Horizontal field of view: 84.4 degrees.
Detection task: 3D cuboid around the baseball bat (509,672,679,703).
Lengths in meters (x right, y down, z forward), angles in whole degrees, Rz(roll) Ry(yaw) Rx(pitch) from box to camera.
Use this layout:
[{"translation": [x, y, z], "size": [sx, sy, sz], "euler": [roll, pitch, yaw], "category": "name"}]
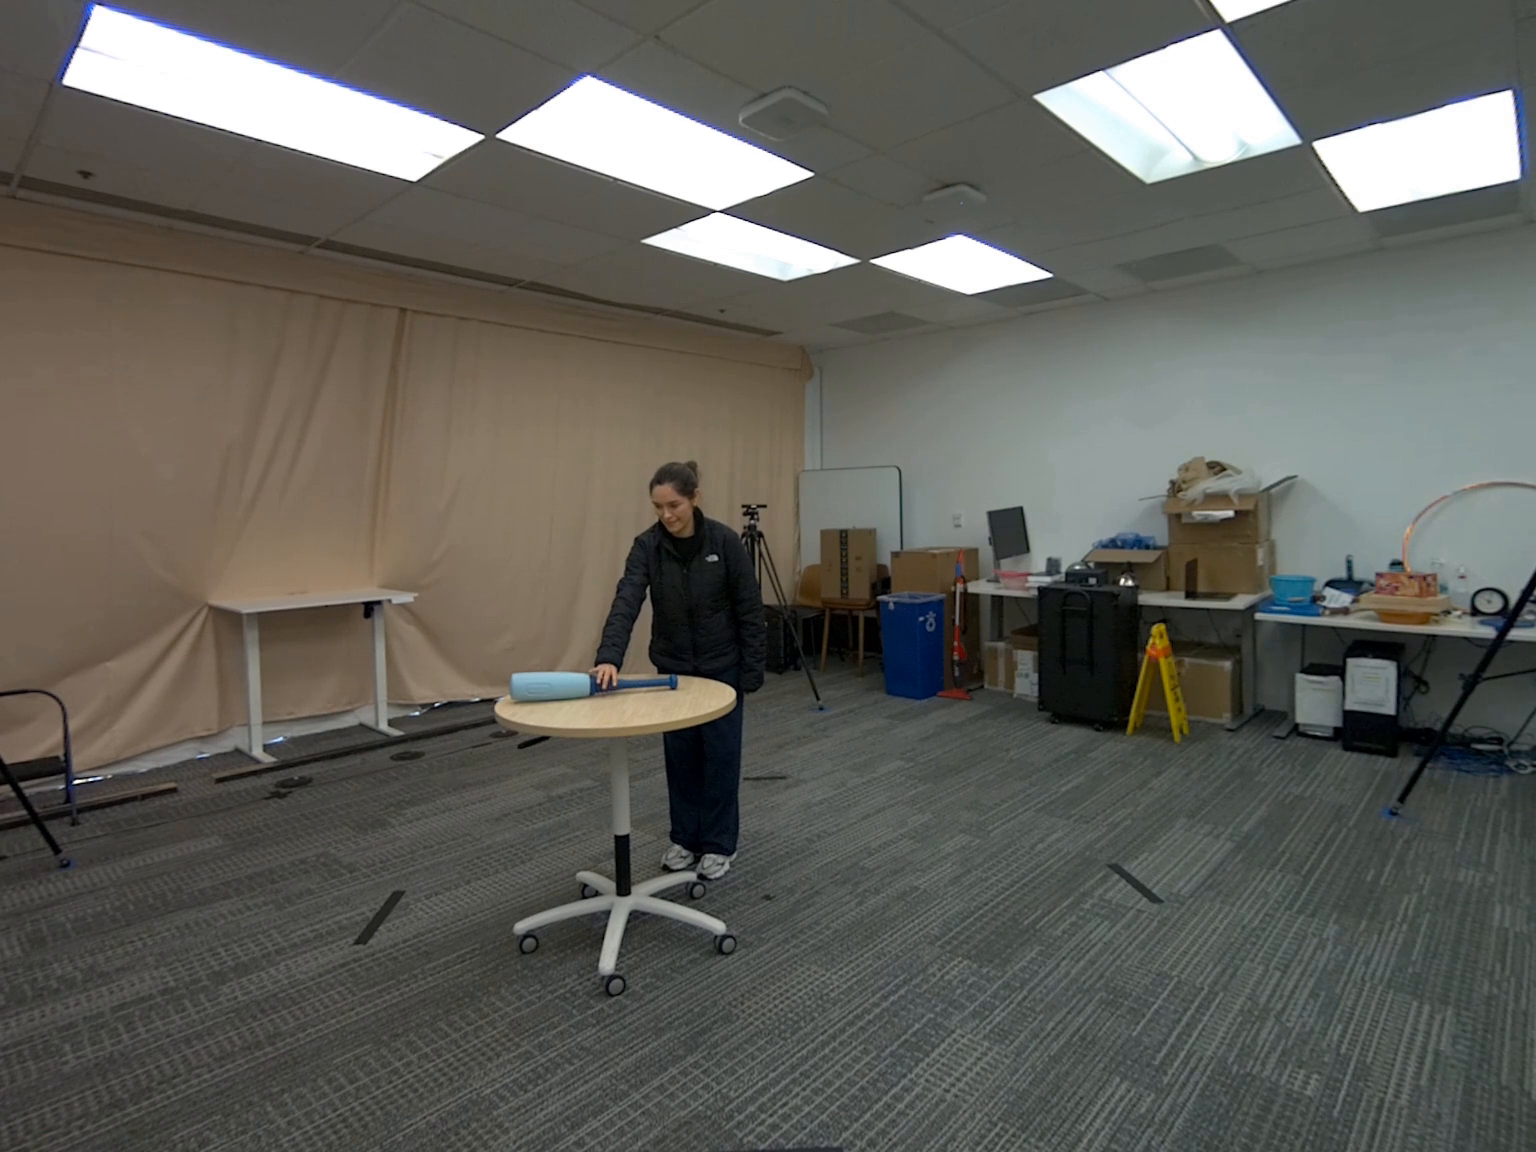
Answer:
[{"translation": [-0.561, 0.361, 2.721], "size": [0.534, 0.089, 0.090], "euler": [1, 3, -15], "category": "baseball bat"}]
